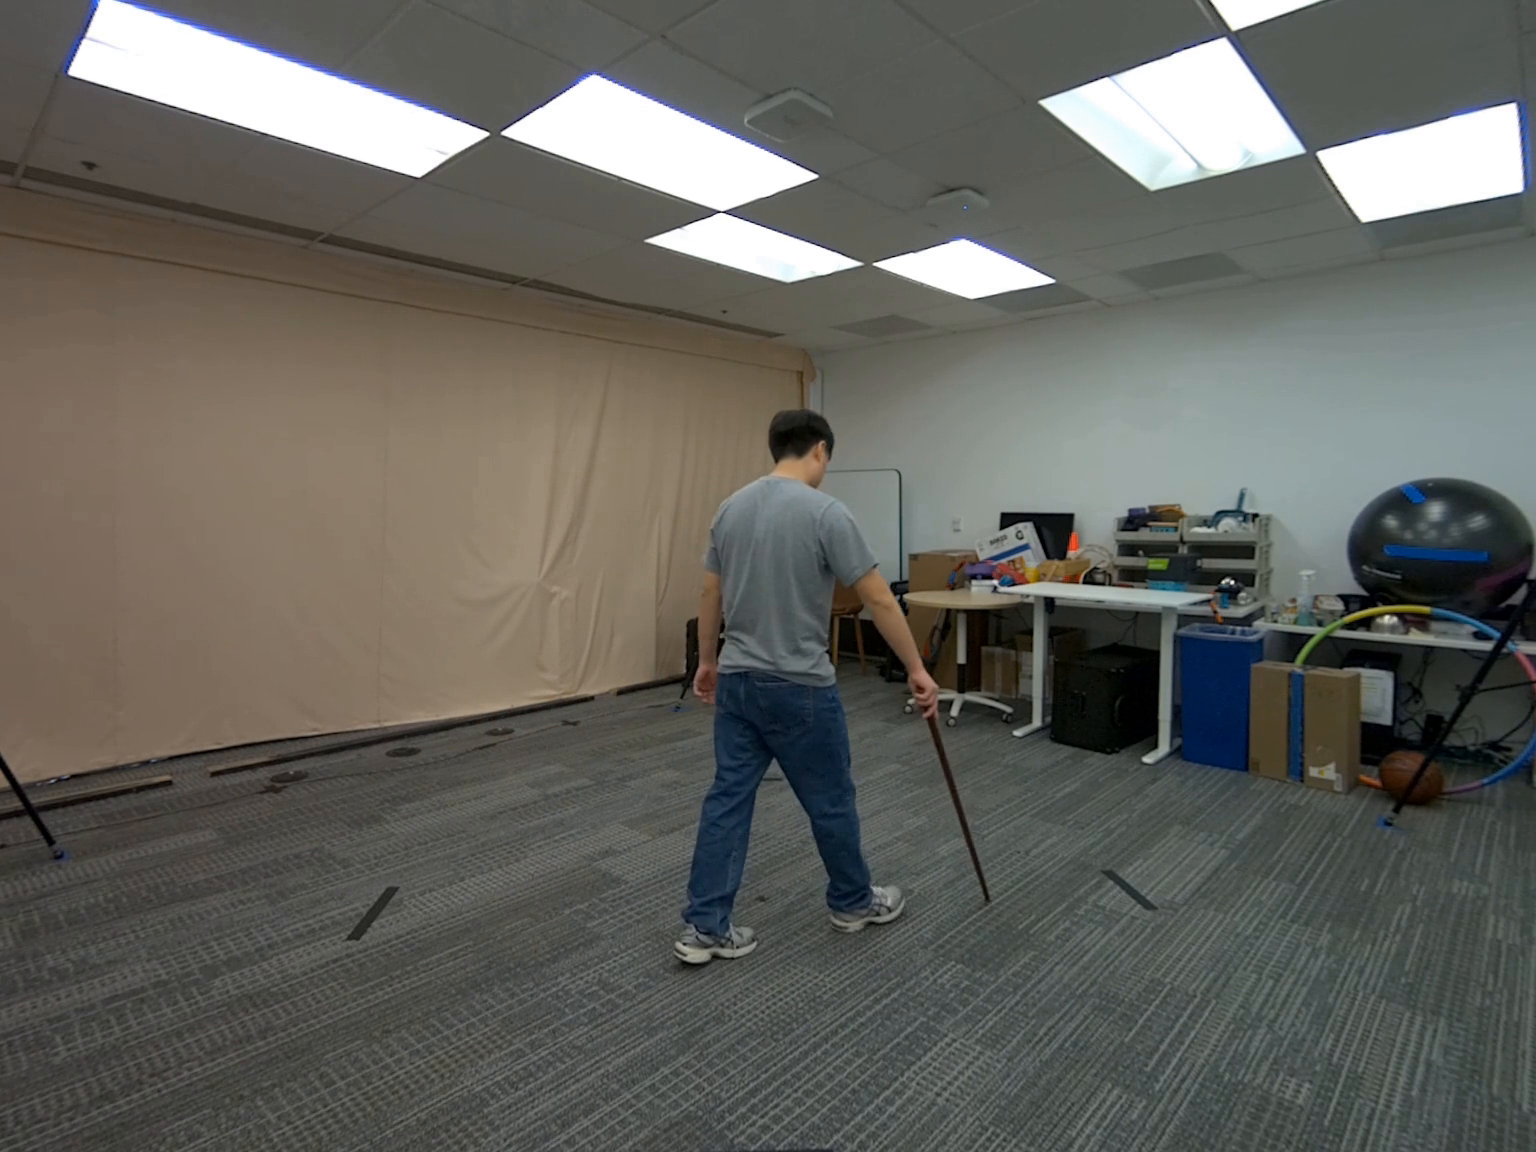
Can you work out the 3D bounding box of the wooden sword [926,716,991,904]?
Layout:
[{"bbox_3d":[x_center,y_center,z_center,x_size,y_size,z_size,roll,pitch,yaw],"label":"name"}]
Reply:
[{"bbox_3d":[0.621,0.763,2.730,0.025,0.998,0.051,-1,37,33],"label":"wooden sword"}]
